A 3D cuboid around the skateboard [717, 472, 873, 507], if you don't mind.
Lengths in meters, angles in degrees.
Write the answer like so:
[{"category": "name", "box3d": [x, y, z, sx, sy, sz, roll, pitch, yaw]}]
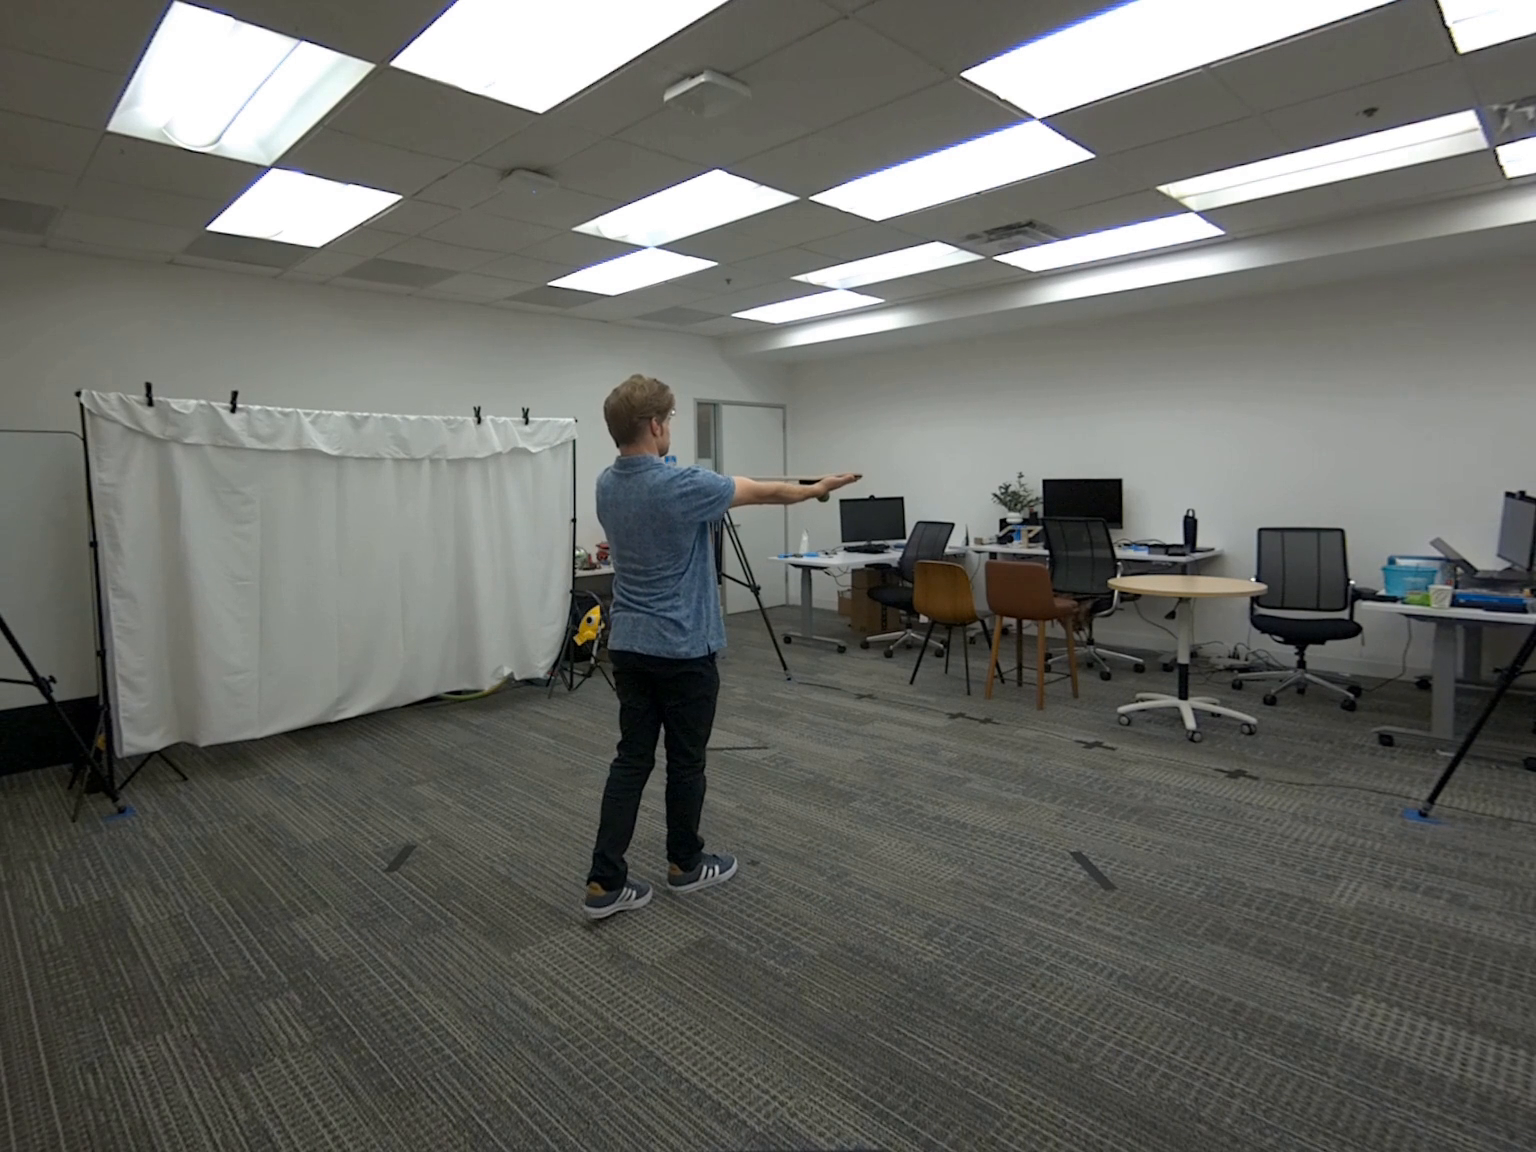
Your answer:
[{"category": "skateboard", "box3d": [0.002, -0.338, 3.269, 0.810, 0.110, 0.188, 6, 9, 38]}]
